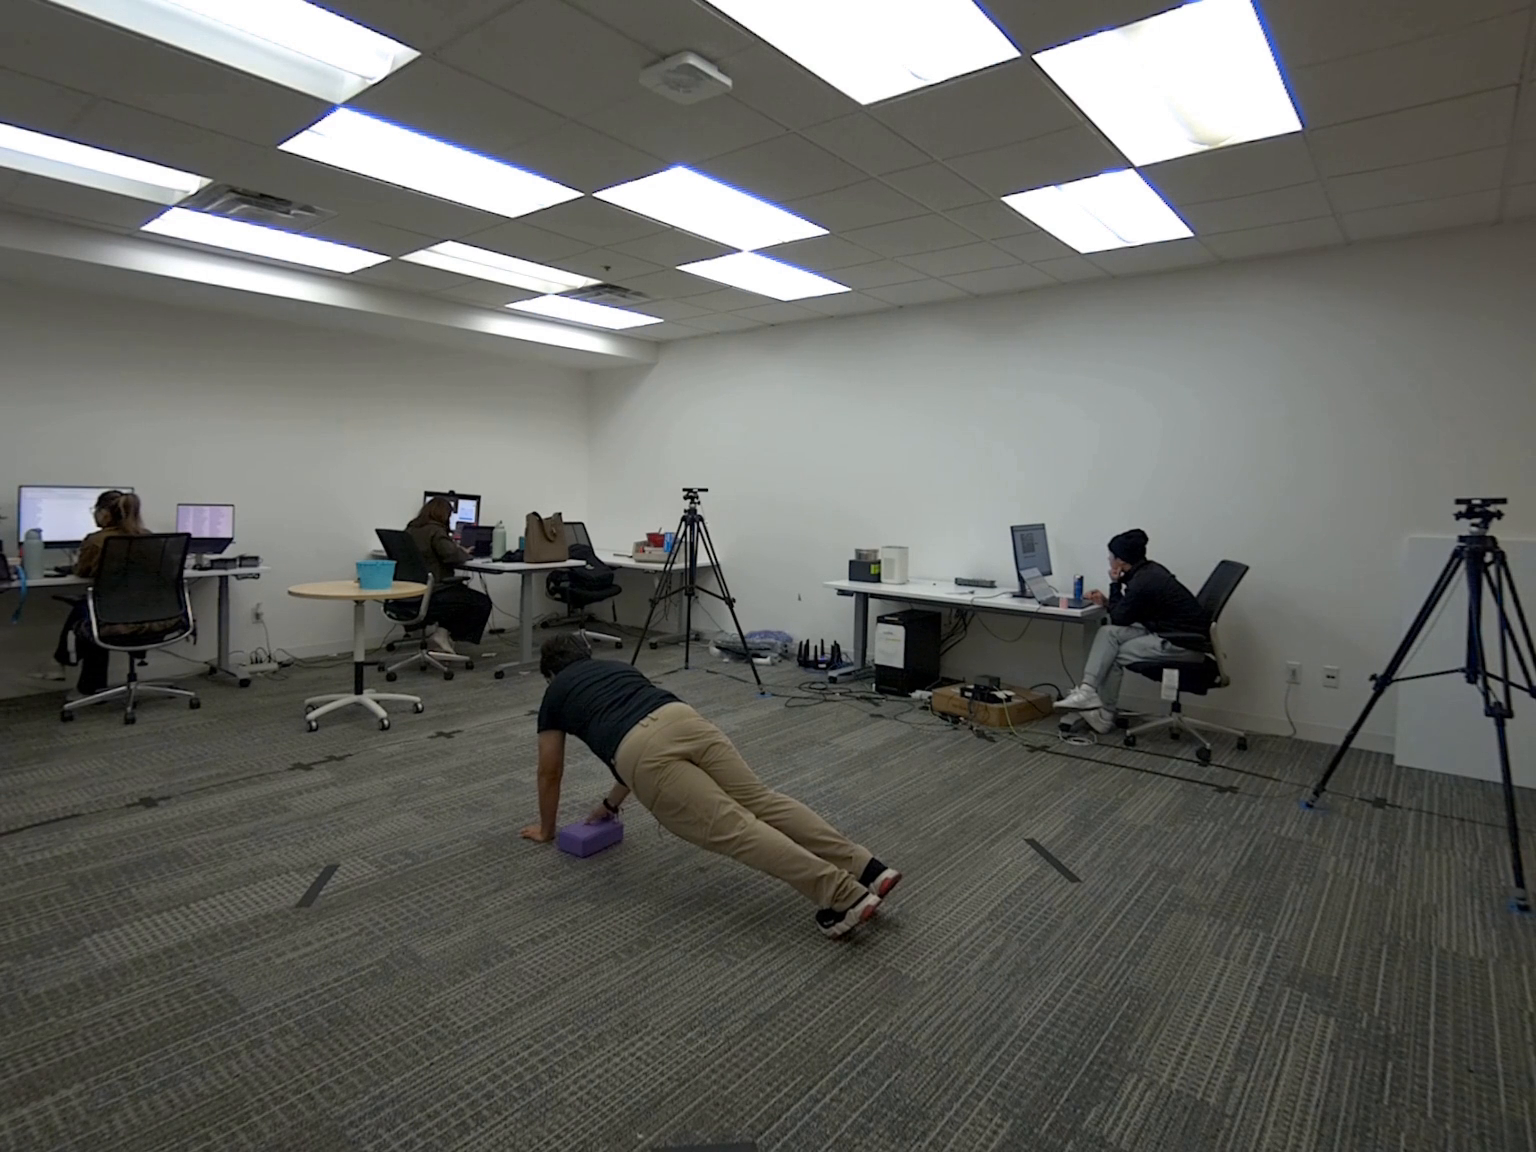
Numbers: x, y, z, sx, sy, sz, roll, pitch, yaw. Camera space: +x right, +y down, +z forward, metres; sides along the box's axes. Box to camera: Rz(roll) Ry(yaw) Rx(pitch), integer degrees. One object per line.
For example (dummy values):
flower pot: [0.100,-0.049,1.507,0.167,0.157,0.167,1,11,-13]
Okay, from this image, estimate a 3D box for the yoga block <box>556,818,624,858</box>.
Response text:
yoga block: [-0.703,1.002,3.298,0.153,0.076,0.223,2,5,33]
